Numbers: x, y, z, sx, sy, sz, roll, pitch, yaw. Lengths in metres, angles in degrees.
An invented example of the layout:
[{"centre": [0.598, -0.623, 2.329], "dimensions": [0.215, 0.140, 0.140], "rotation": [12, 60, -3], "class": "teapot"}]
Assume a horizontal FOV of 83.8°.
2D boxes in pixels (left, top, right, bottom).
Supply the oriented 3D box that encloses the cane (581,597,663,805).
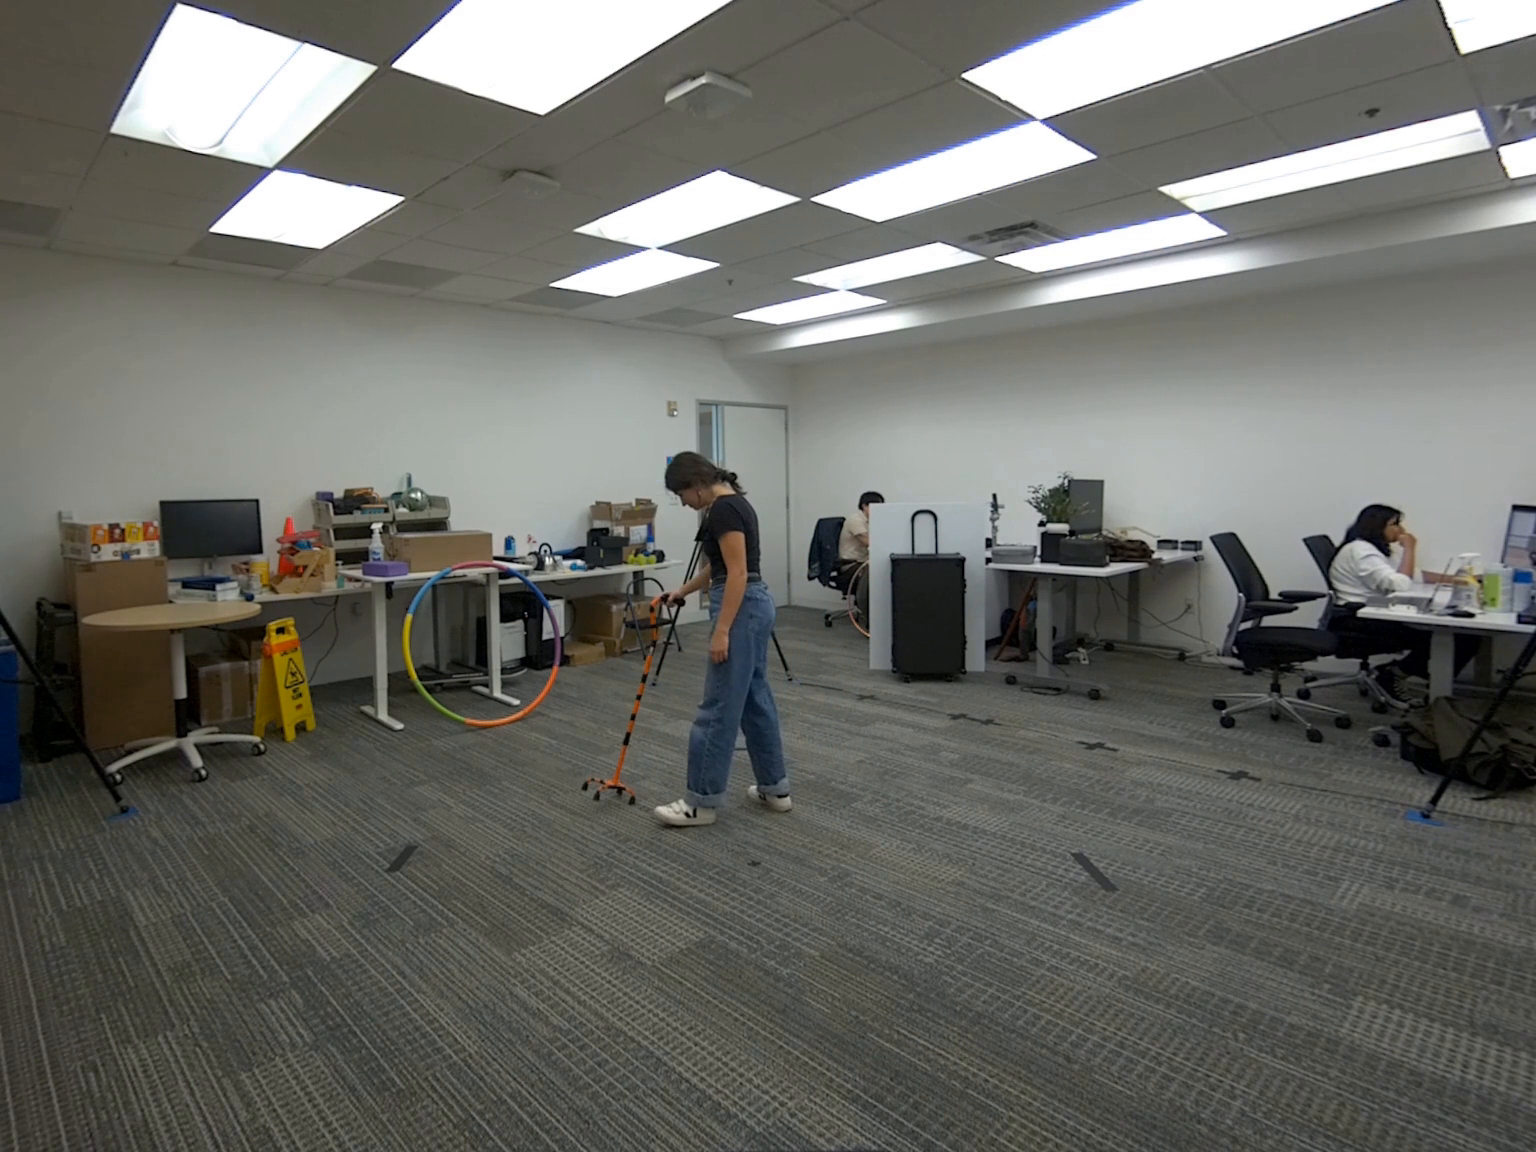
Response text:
[{"centre": [-0.576, 0.522, 3.736], "dimensions": [0.199, 0.910, 0.156], "rotation": [17, -4, -37], "class": "cane"}]
